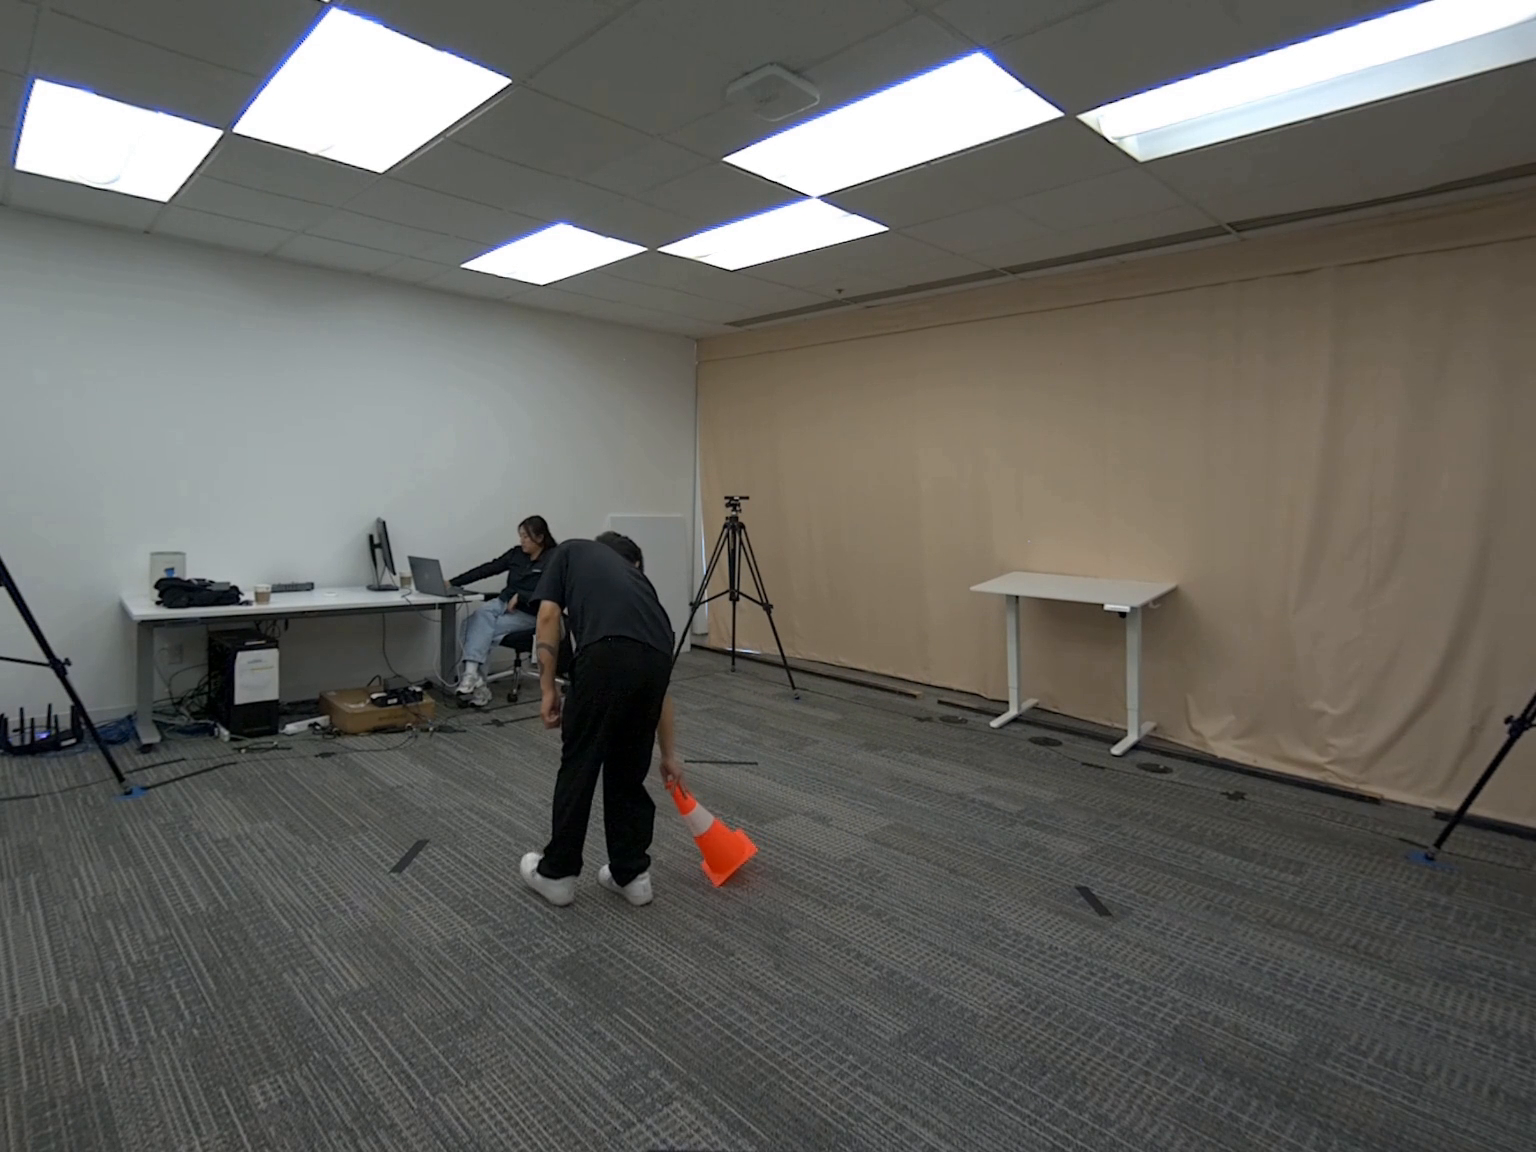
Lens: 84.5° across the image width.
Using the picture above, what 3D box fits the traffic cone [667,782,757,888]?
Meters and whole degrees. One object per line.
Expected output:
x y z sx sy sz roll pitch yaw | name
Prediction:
-0.254 0.899 3.071 0.204 0.378 0.207 -39 15 -15 | traffic cone
